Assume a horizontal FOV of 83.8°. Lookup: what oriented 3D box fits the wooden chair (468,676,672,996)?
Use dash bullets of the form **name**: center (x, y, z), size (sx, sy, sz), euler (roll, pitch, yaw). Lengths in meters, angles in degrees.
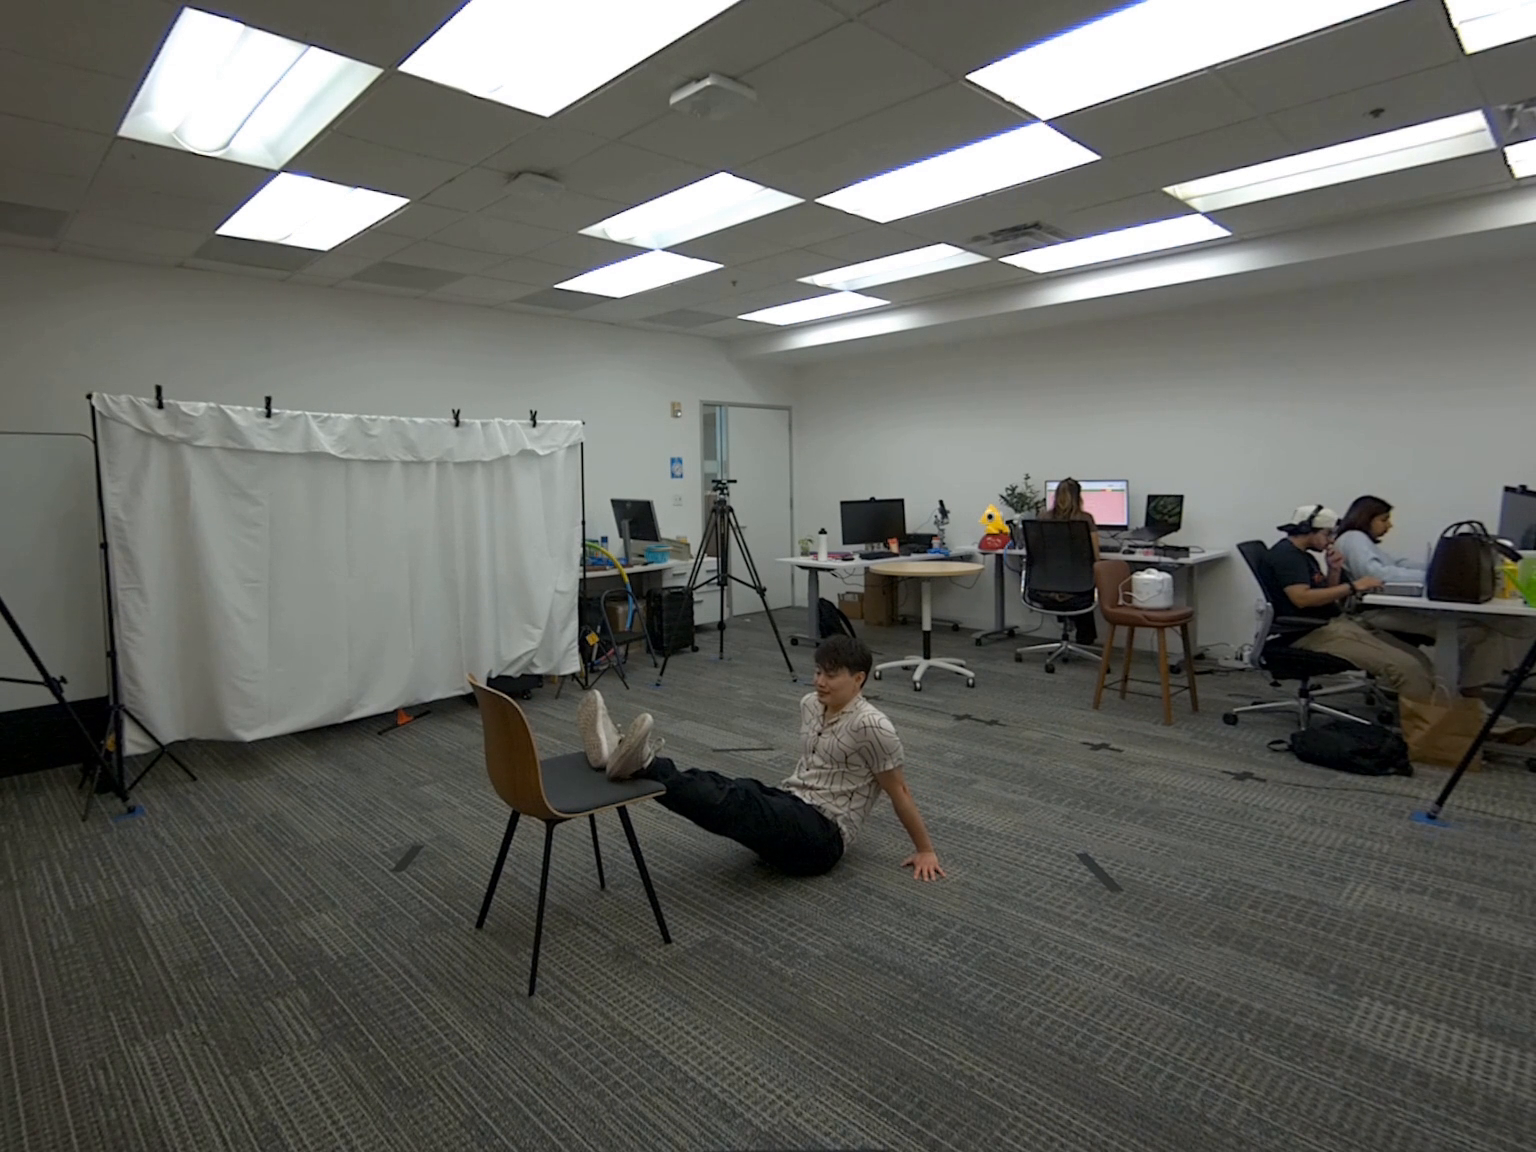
- **wooden chair**: center (-0.605, 0.687, 2.615), size (0.511, 0.872, 0.492), euler (-9, 8, -36)
